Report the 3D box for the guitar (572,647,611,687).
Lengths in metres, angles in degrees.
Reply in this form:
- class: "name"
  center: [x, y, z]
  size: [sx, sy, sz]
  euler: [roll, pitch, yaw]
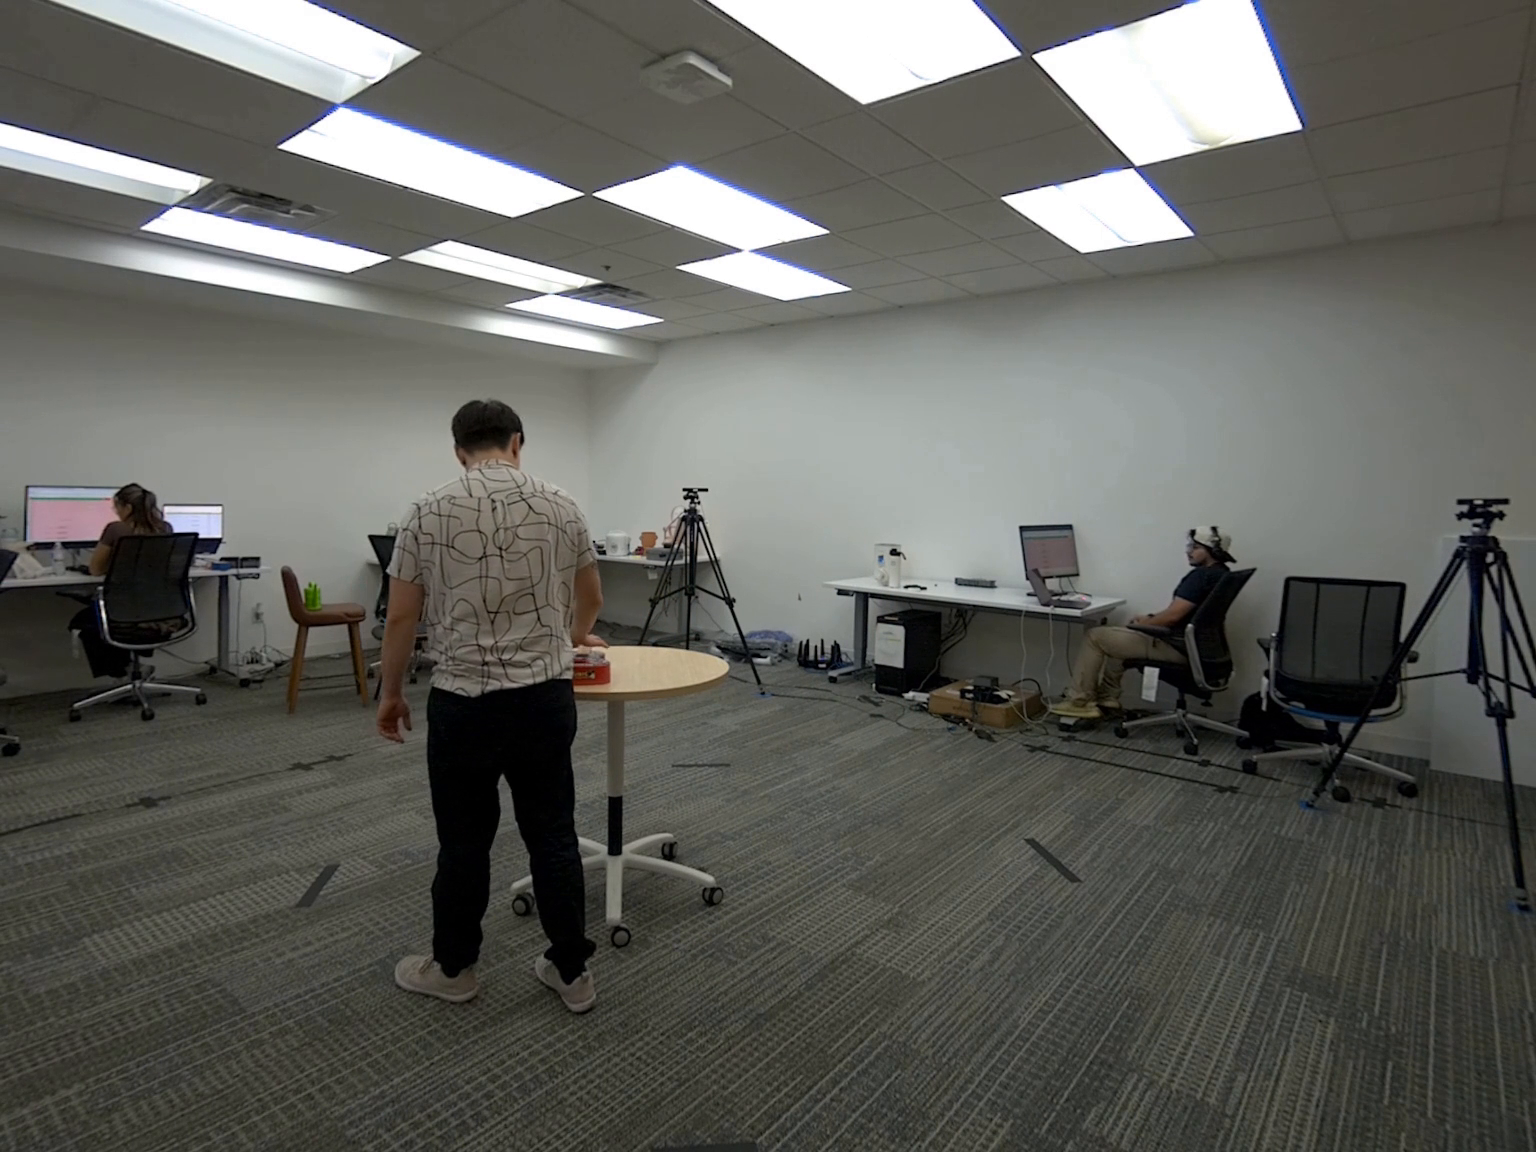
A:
- class: "guitar"
  center: [-0.599, 0.272, 2.817]
  size: [0.193, 0.070, 0.500]
  euler: [-1, 6, 0]
